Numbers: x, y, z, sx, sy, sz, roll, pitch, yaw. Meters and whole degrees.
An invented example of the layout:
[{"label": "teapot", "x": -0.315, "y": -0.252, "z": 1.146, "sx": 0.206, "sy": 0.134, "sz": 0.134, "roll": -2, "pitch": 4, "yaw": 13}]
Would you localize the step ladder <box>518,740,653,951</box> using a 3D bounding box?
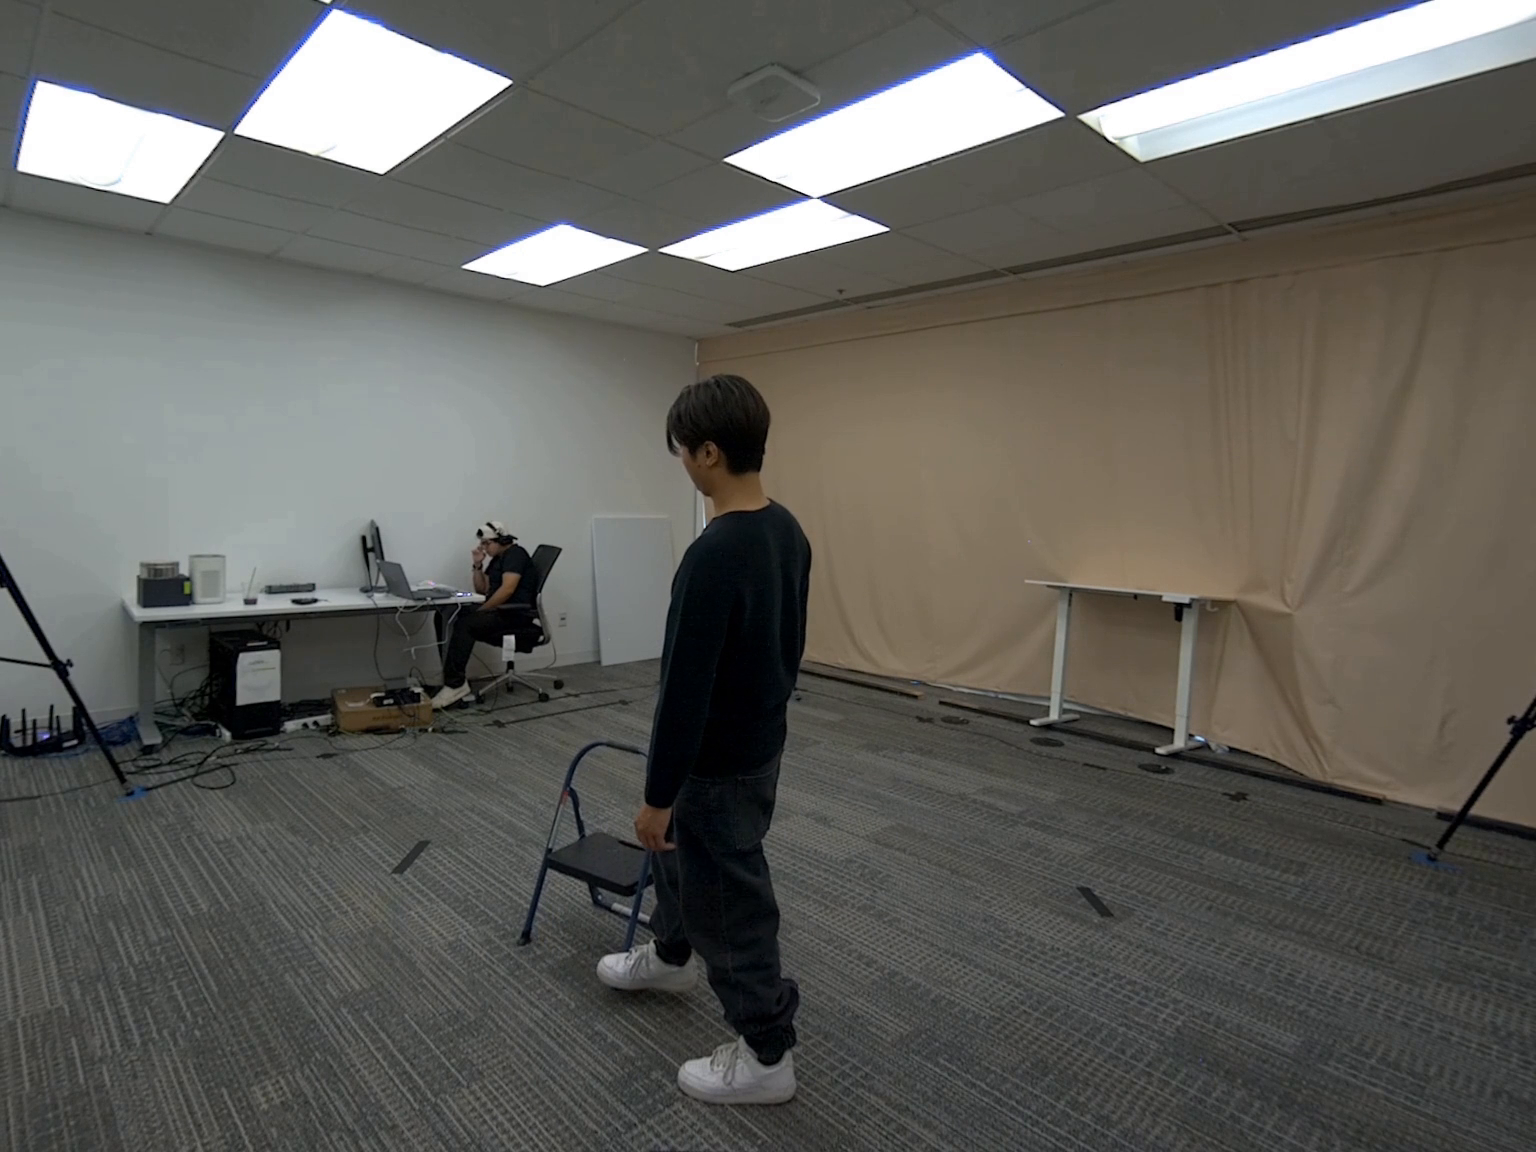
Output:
[{"label": "step ladder", "x": -0.506, "y": 0.841, "z": 2.611, "sx": 0.441, "sy": 0.604, "sz": 0.342, "roll": 4, "pitch": 5, "yaw": 33}]
